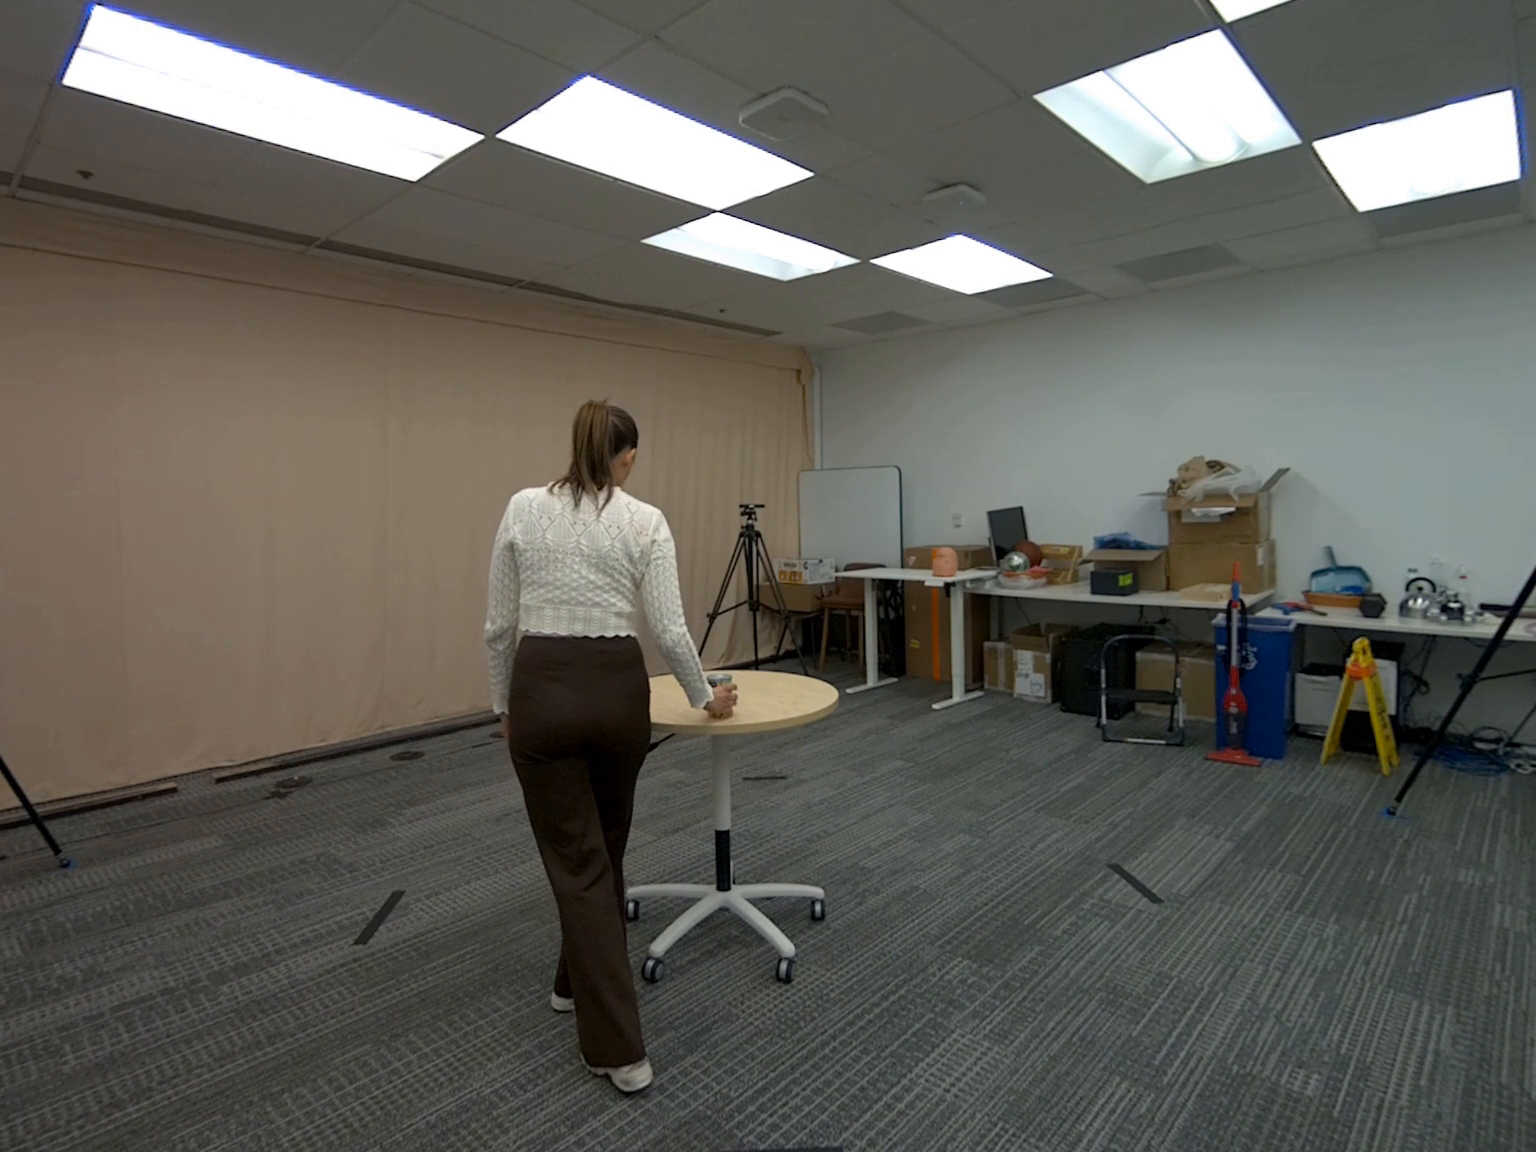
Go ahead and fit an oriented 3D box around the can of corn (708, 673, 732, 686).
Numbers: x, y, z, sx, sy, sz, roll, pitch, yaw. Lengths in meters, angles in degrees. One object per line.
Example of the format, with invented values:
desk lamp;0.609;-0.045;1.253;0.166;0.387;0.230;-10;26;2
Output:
can of corn;-0.130;0.351;2.434;0.074;0.111;0.074;-4;4;-2
